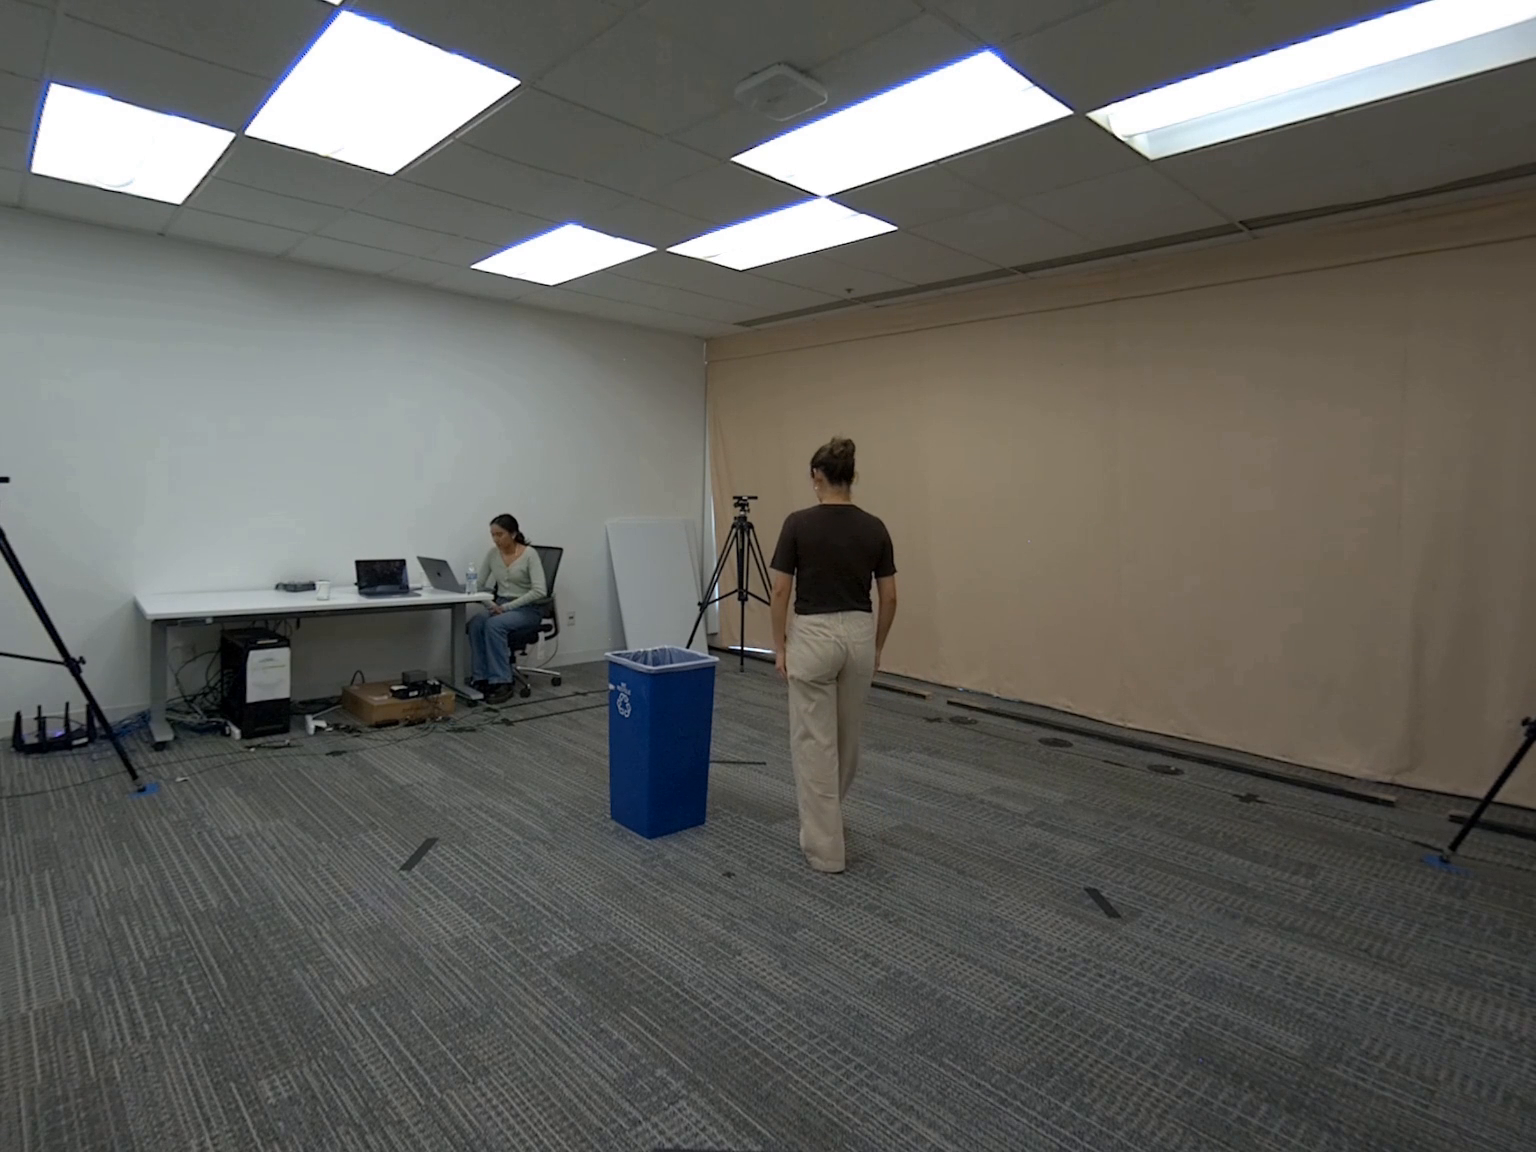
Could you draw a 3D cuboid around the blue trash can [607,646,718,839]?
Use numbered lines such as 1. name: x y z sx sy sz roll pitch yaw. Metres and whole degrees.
1. blue trash can: -0.474 0.692 3.589 0.365 0.712 0.388 -1 5 -41
